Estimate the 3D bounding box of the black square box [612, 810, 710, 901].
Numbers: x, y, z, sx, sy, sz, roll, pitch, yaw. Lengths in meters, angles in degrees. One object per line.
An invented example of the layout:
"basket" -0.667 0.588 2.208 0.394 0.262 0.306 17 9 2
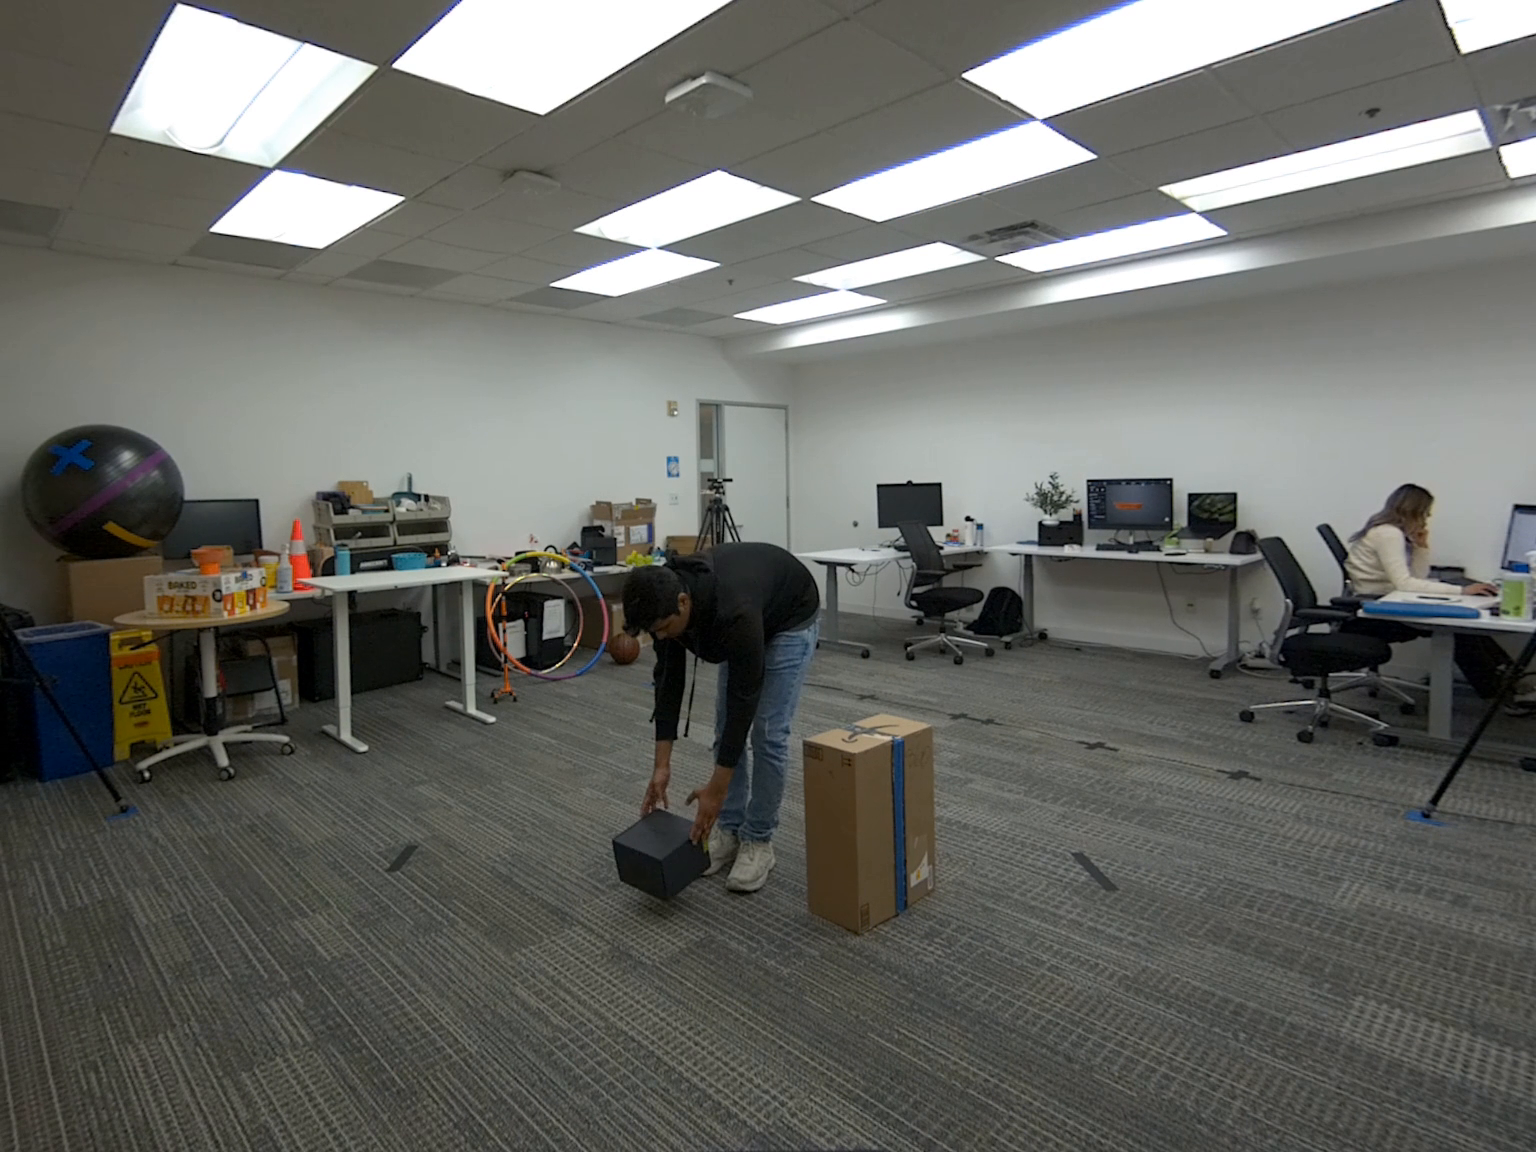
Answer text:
"black square box" -0.337 0.916 2.806 0.235 0.154 0.213 5 17 39
